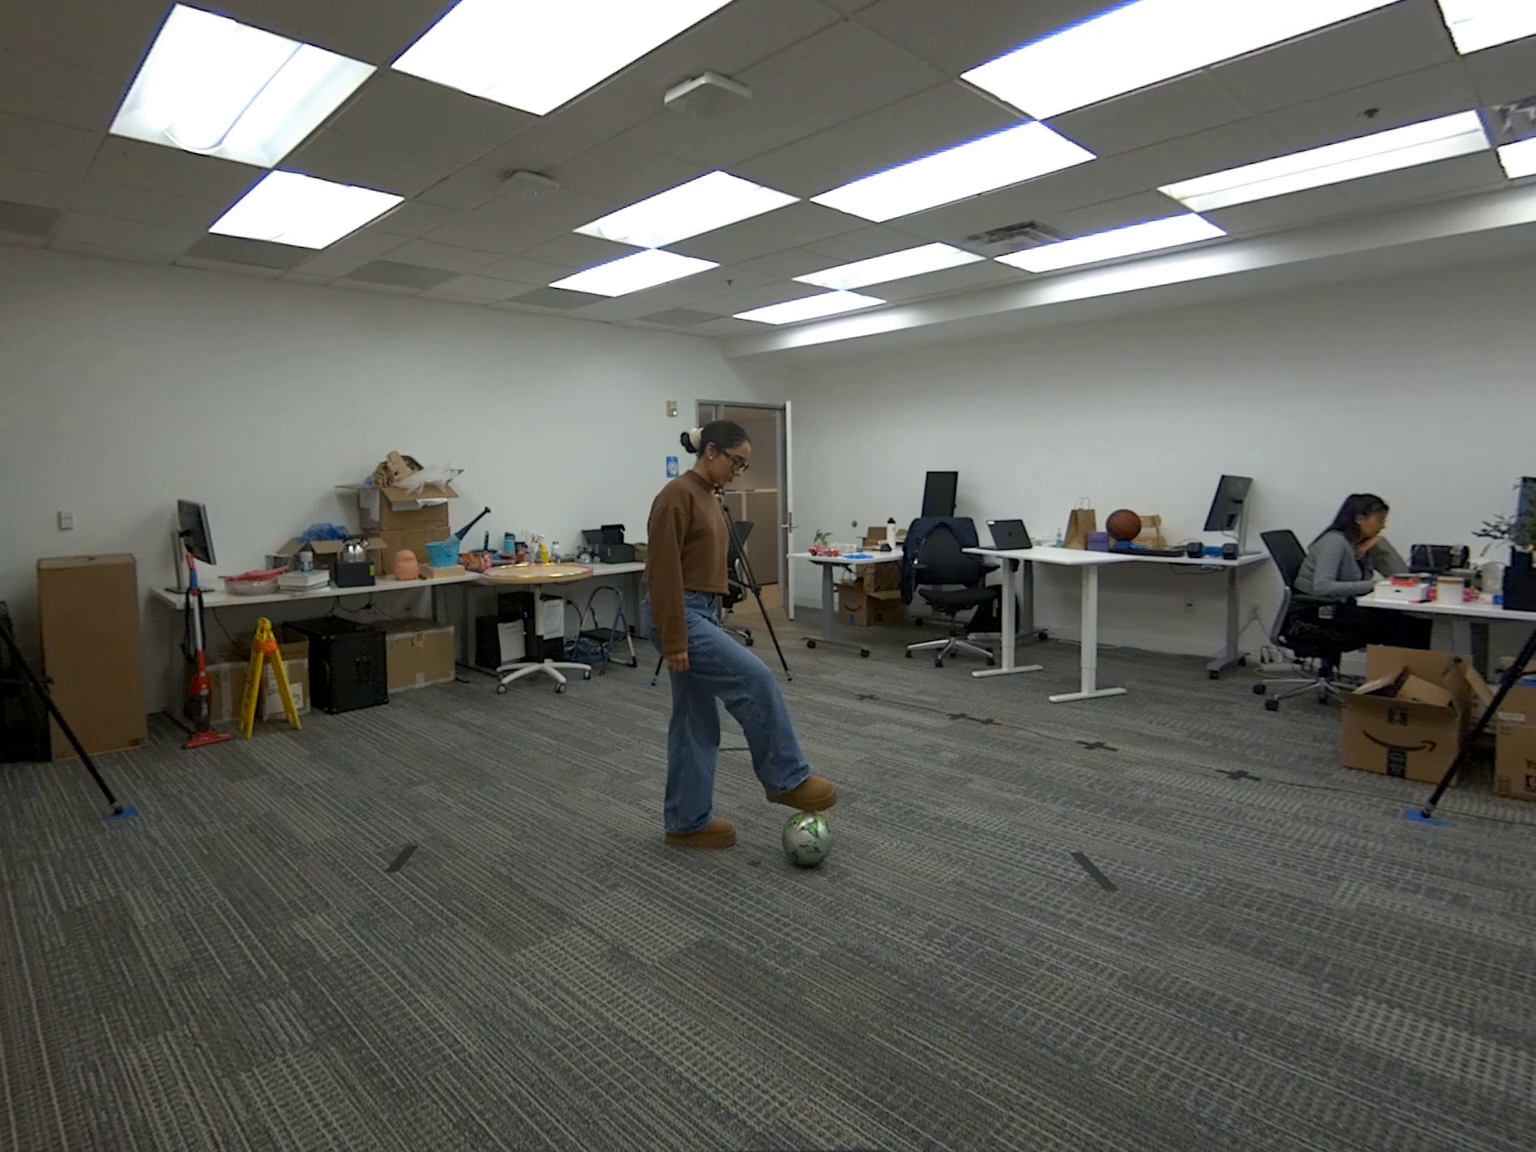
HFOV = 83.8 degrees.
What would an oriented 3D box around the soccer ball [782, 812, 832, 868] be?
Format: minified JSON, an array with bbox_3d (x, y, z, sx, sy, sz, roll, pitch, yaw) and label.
[{"bbox_3d":[0.139,0.950,3.083,0.187,0.187,0.188,-1,5,-2],"label":"soccer ball"}]
